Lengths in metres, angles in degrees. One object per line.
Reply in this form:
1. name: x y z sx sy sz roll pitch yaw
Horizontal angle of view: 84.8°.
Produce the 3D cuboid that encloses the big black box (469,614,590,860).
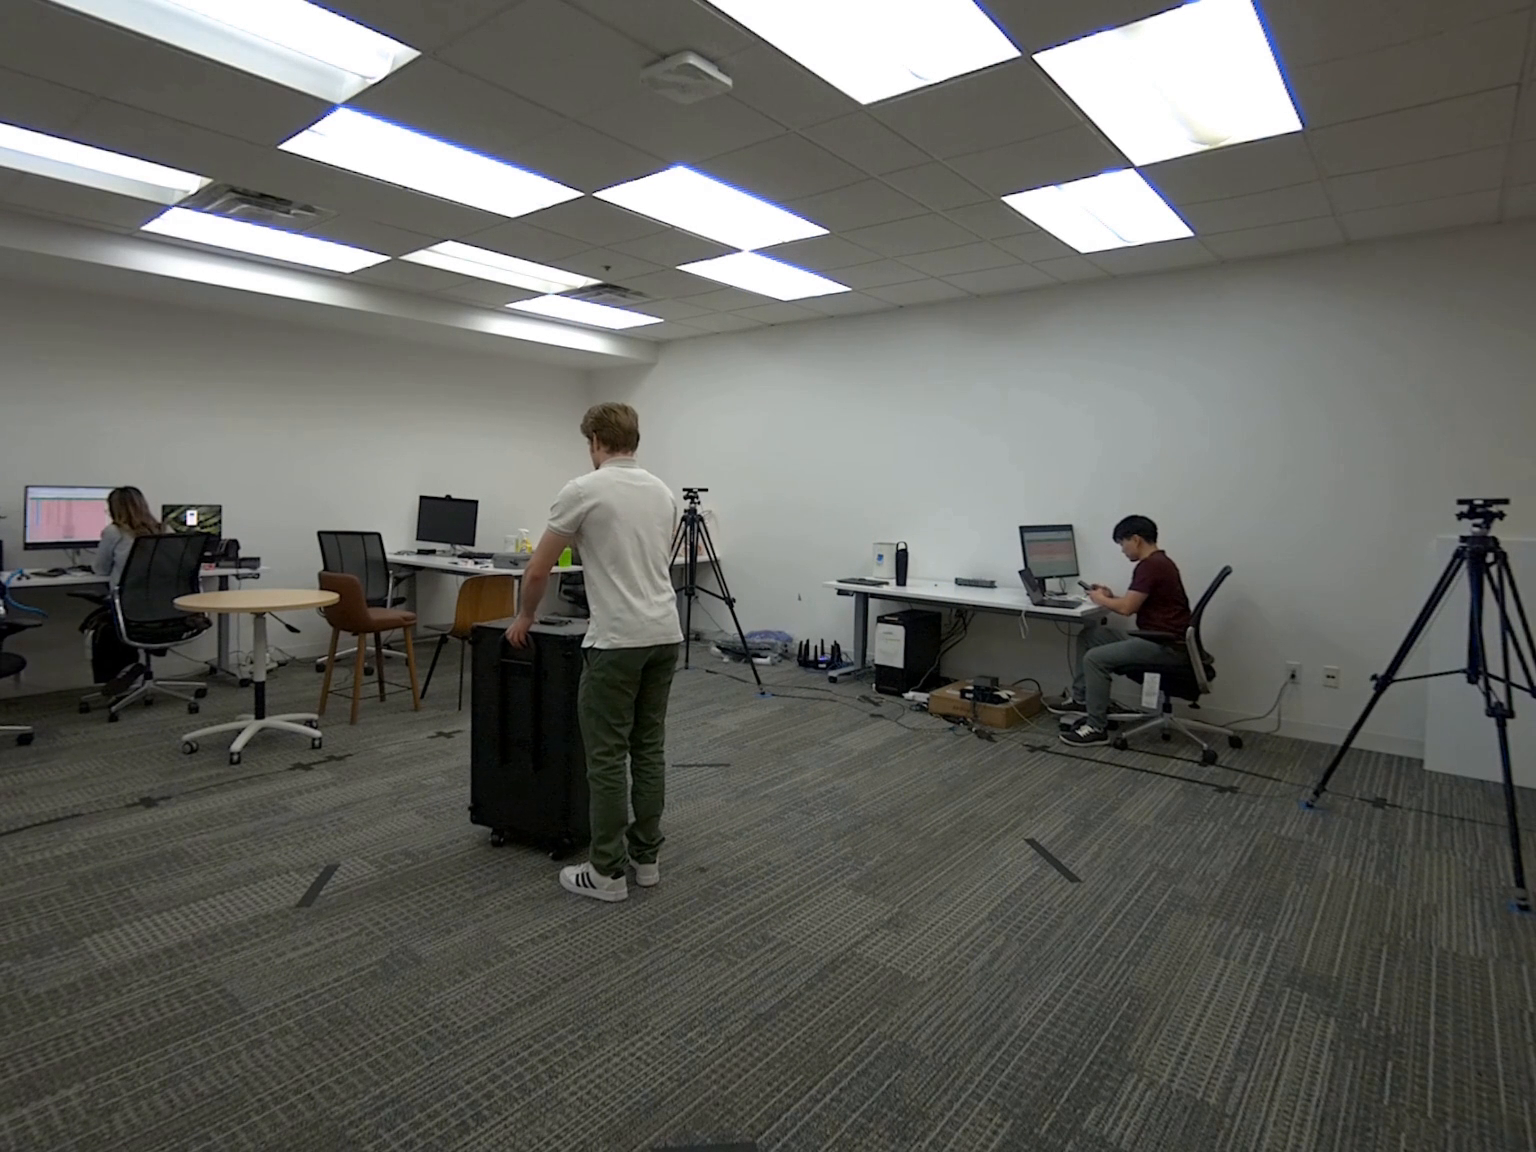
1. big black box: -0.877 0.613 3.348 0.536 0.867 0.376 2 3 24
